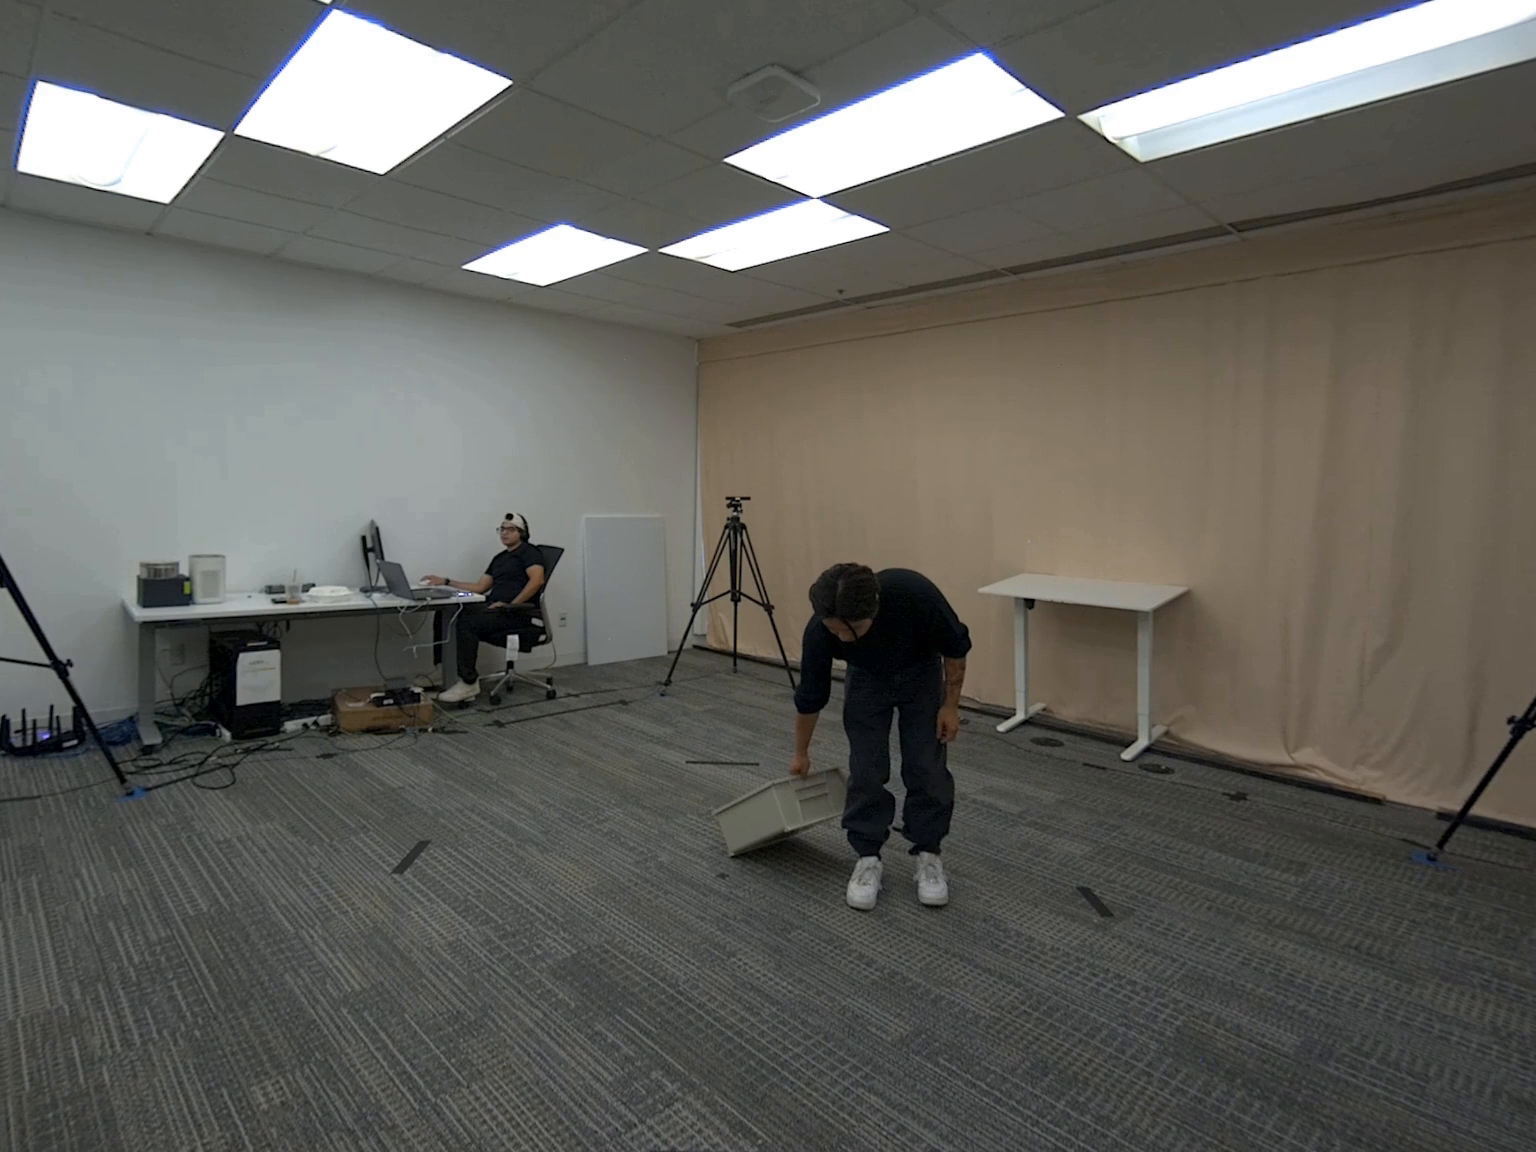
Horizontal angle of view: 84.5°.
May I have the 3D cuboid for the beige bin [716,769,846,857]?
[{"bbox_3d":[0.061,0.909,3.264,0.369,0.192,0.424,-4,-24,-40],"label":"beige bin"}]
